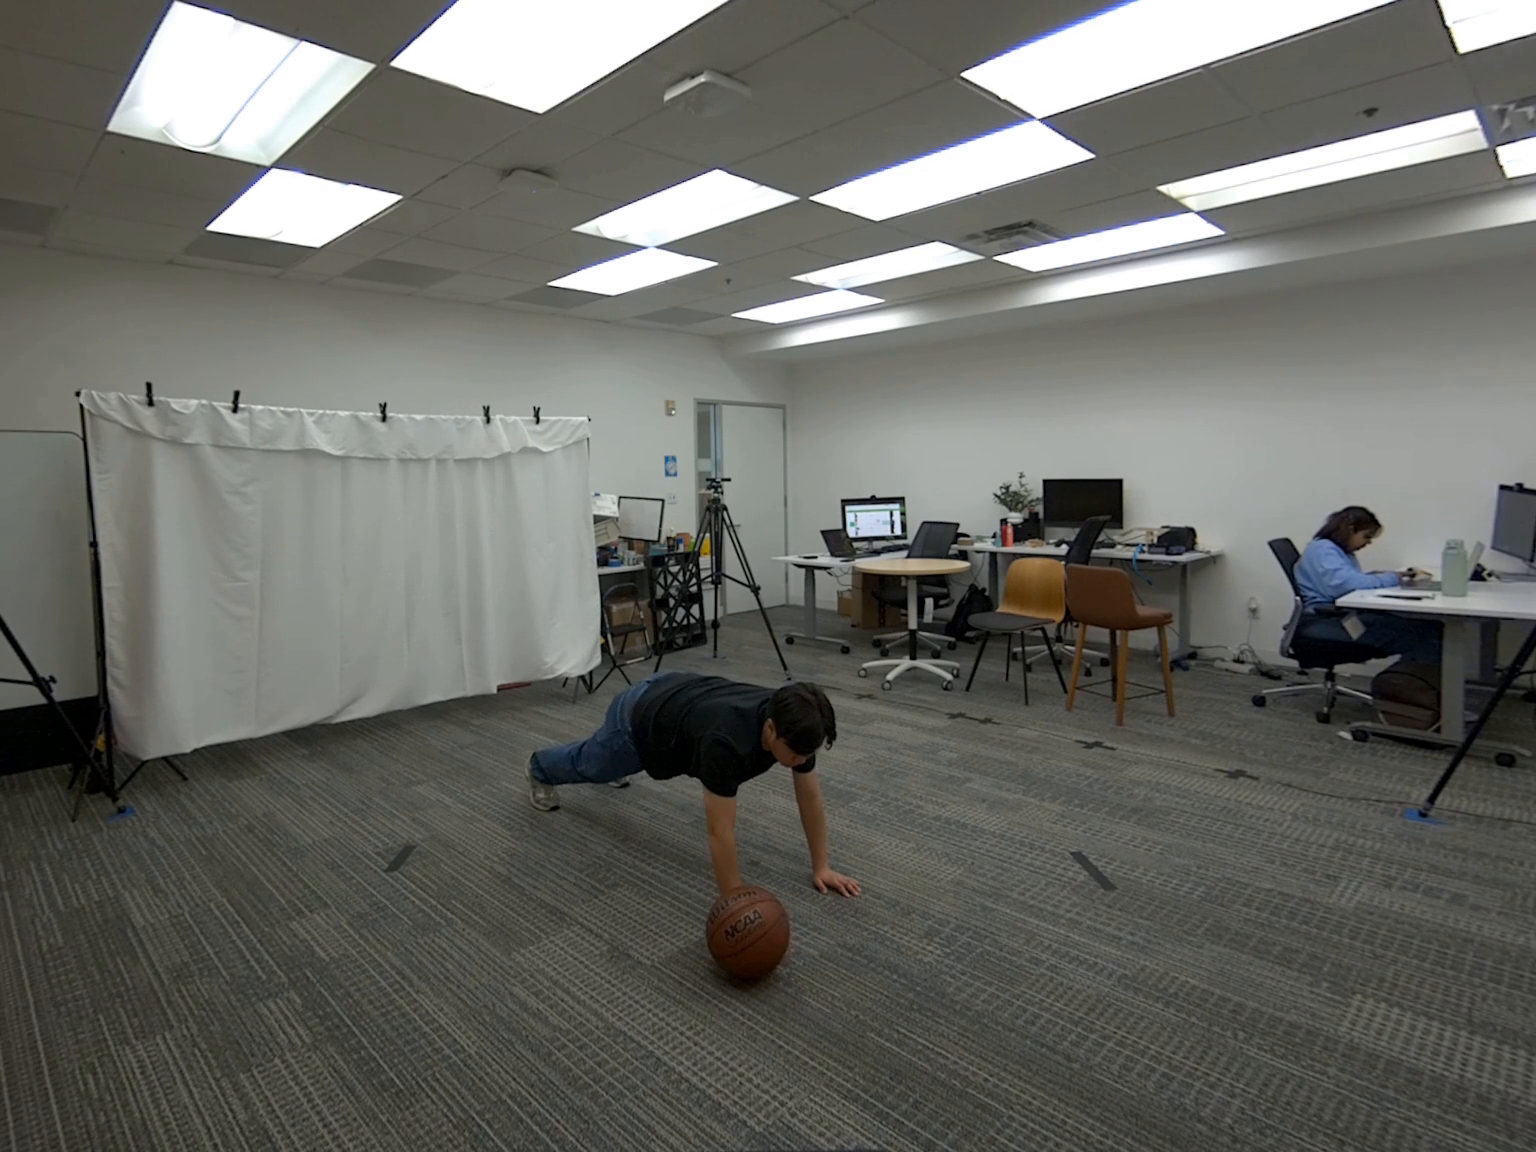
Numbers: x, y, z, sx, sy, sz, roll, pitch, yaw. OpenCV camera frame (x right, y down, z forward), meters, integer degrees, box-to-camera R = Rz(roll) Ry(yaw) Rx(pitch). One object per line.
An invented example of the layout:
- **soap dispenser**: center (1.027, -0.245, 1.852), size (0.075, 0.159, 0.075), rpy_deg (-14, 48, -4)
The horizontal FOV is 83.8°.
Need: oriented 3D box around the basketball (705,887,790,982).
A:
- **basketball**: center (-0.055, 1.001, 2.414), size (0.236, 0.235, 0.237), rpy_deg (-1, 5, -2)
